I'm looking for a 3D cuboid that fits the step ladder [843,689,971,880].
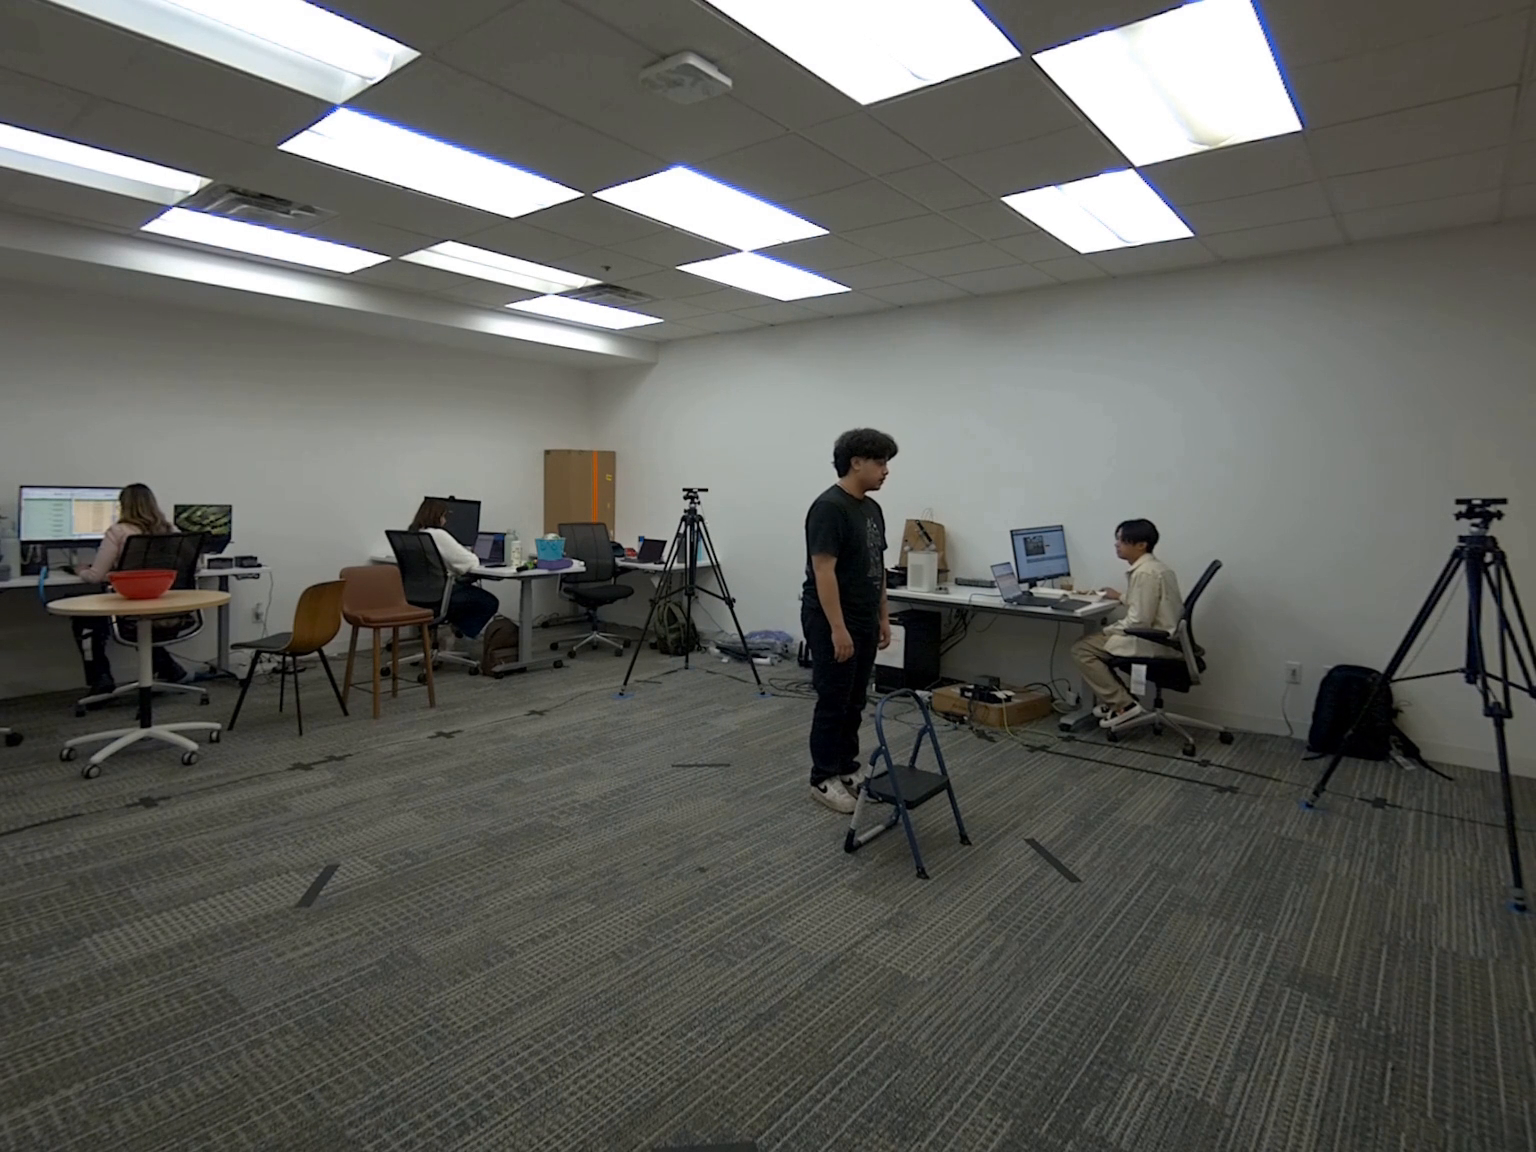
[{"bbox_3d":[0.558,0.764,3.327,0.361,0.604,0.418,5,4,36],"label":"step ladder"}]
